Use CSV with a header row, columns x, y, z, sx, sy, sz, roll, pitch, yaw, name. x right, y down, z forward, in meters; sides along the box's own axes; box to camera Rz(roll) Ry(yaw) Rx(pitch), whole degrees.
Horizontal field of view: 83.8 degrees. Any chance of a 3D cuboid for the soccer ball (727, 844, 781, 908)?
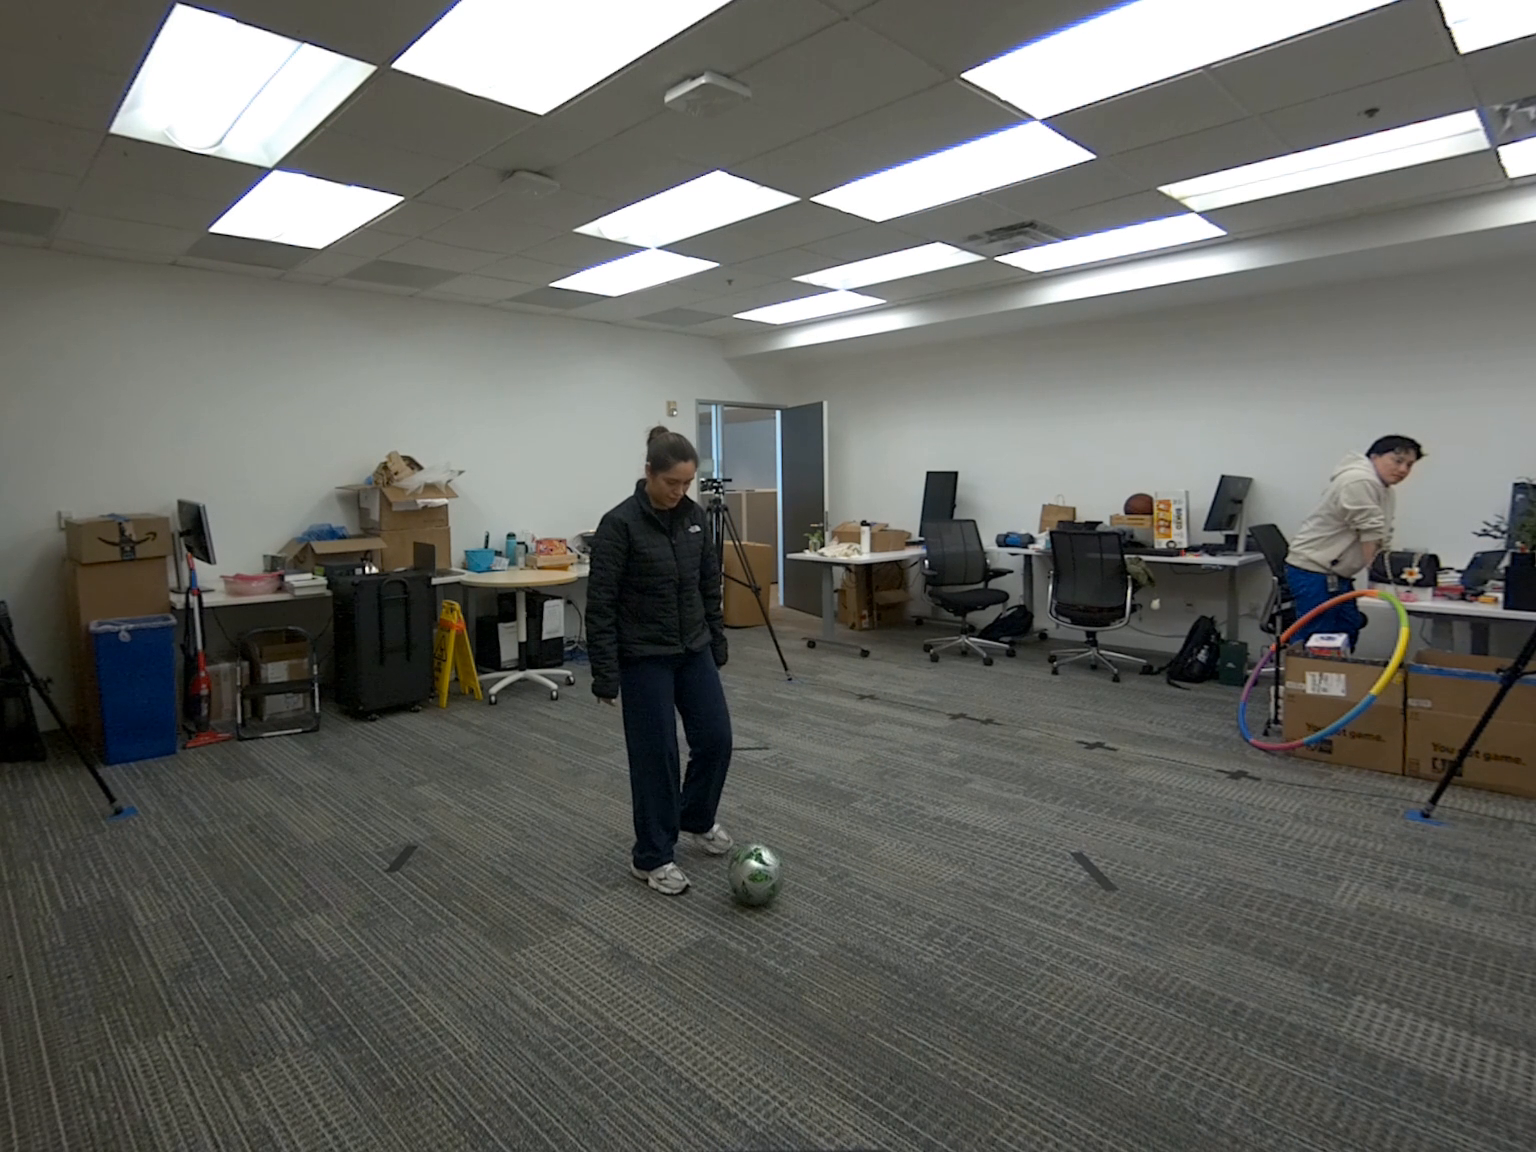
x,y,z,sx,sy,sz,roll,pitch,yaw,name
-0.034,0.981,2.817,0.187,0.187,0.188,-1,5,-2,soccer ball
